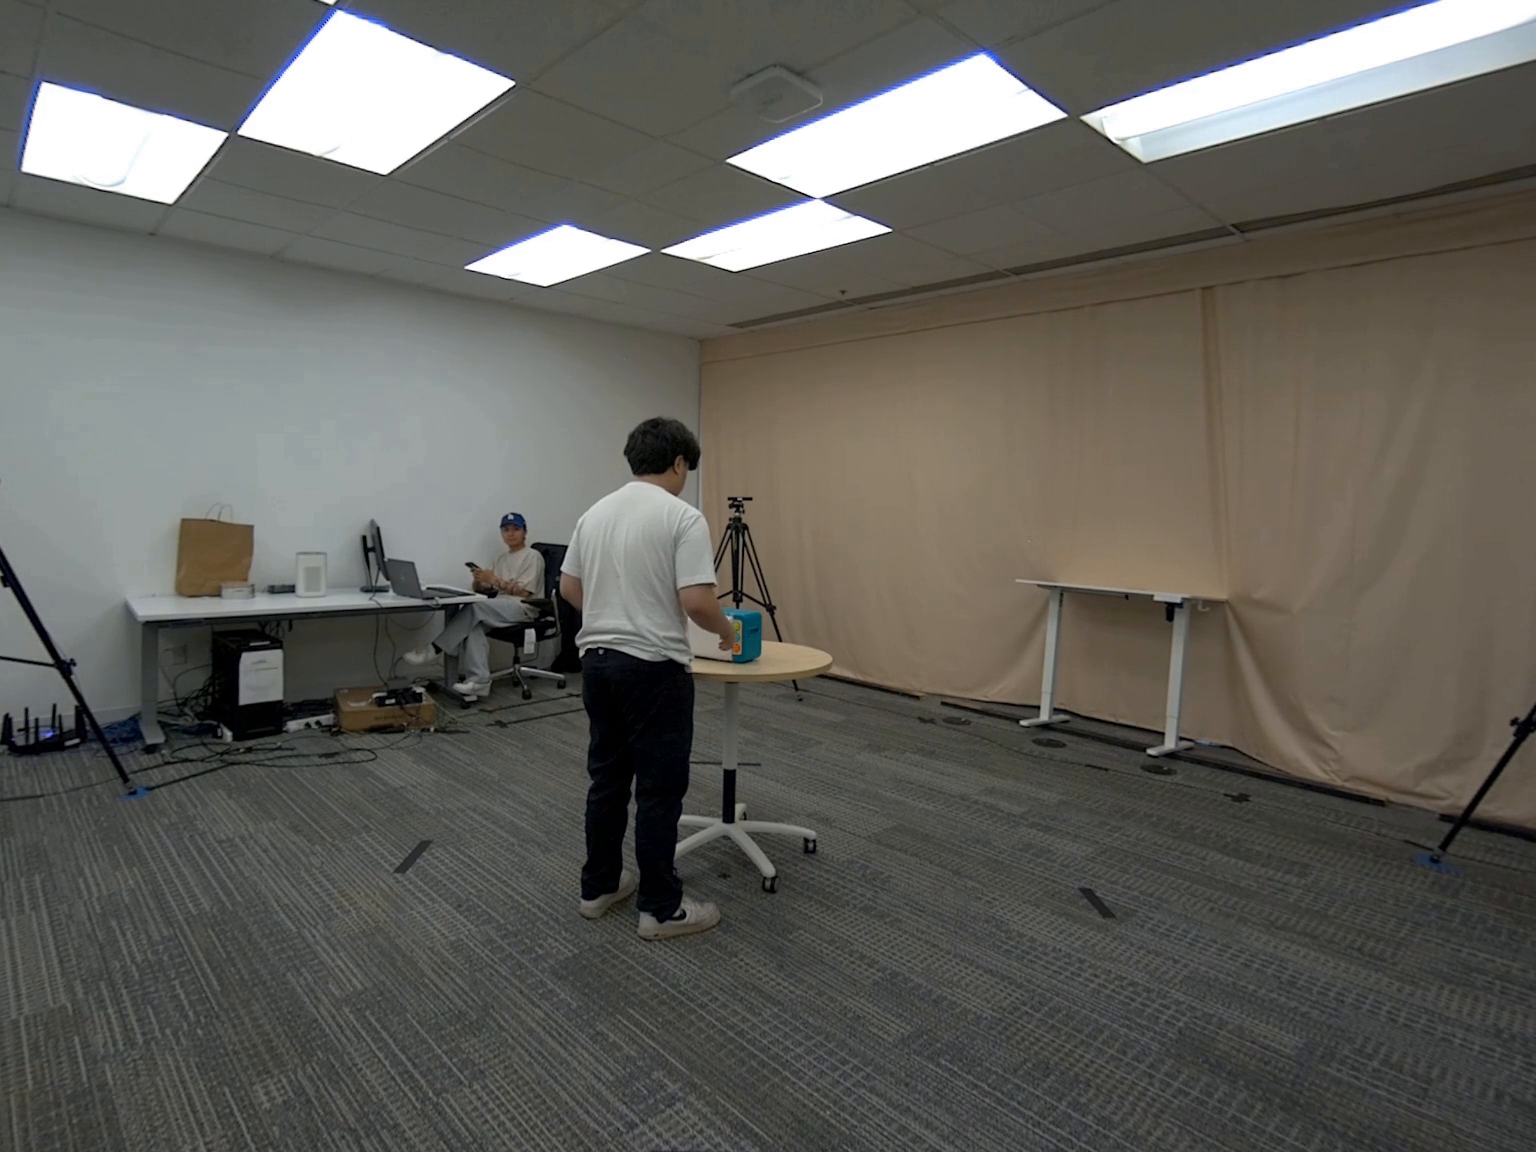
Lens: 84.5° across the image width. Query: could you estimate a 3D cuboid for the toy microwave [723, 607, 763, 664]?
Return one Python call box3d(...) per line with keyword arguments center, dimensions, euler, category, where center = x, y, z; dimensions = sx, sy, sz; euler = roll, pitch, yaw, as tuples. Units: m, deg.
box3d(center=(-0.183, 0.218, 3.141), dimensions=(0.293, 0.183, 0.149), euler=(4, 5, 32), category="toy microwave")
